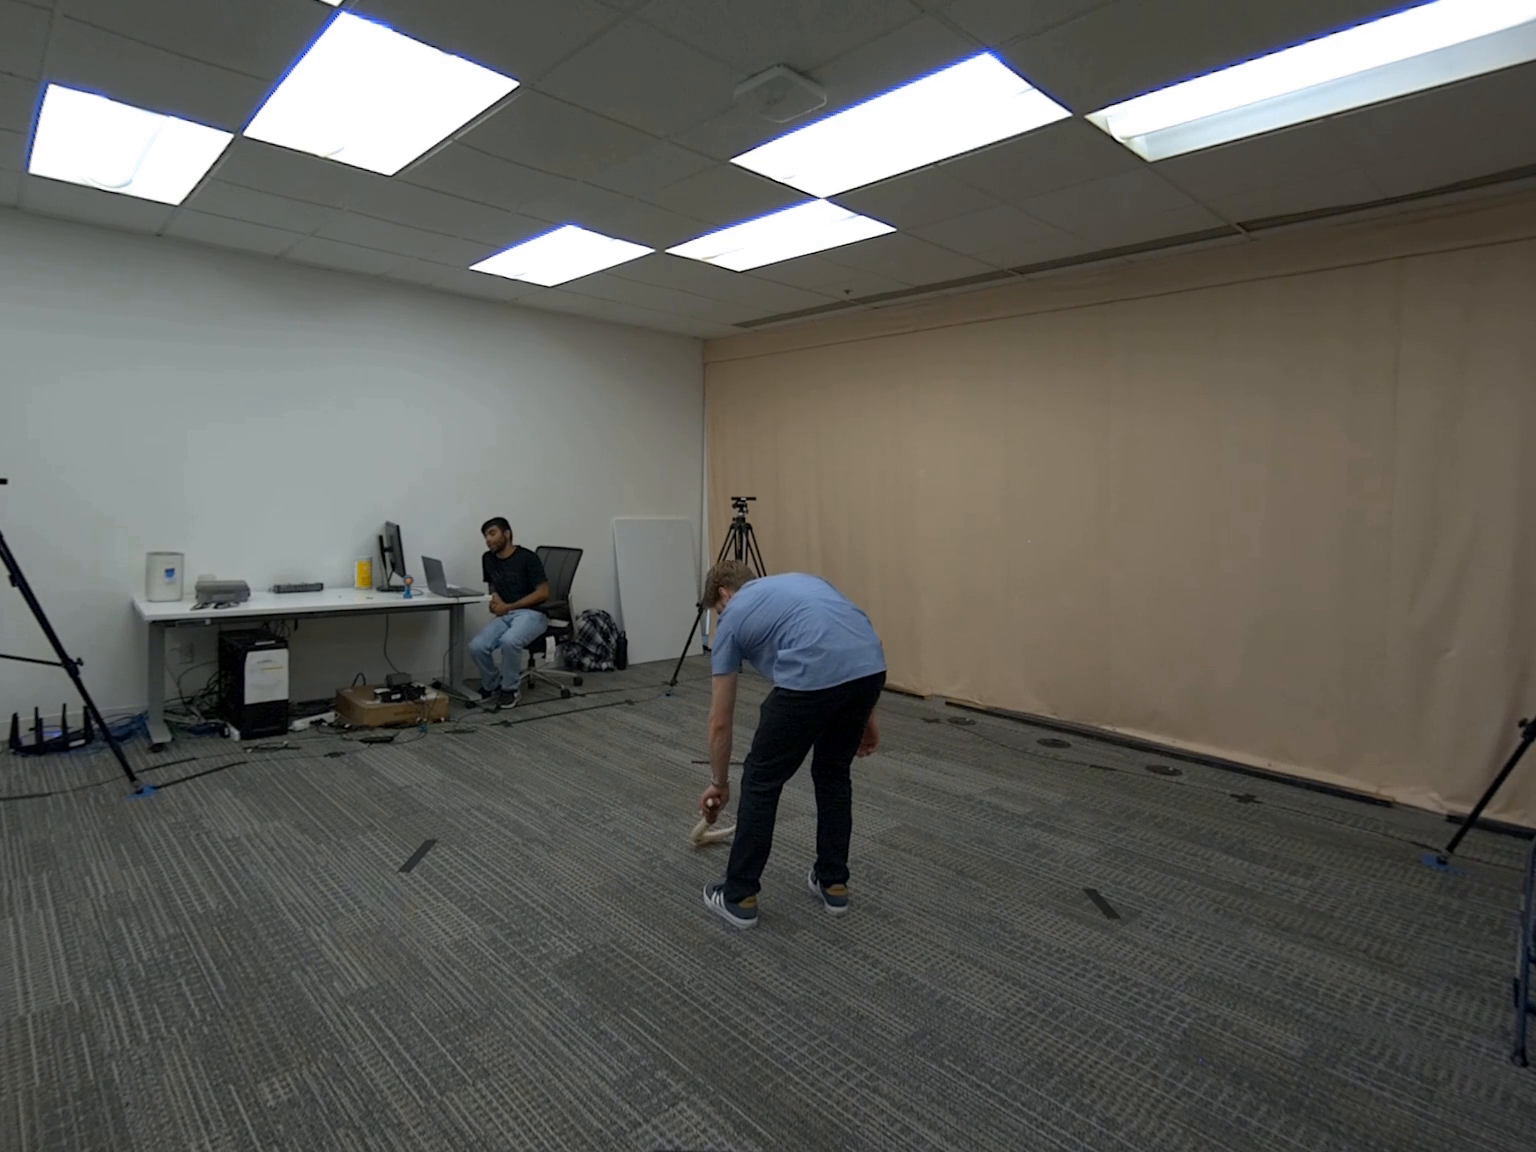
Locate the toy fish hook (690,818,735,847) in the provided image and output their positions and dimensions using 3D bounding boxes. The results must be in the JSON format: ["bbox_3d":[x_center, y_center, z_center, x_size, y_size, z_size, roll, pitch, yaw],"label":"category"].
[{"bbox_3d":[-0.193,0.929,3.212,0.222,0.049,0.498,-14,-29,-16],"label":"toy fish hook"}]
